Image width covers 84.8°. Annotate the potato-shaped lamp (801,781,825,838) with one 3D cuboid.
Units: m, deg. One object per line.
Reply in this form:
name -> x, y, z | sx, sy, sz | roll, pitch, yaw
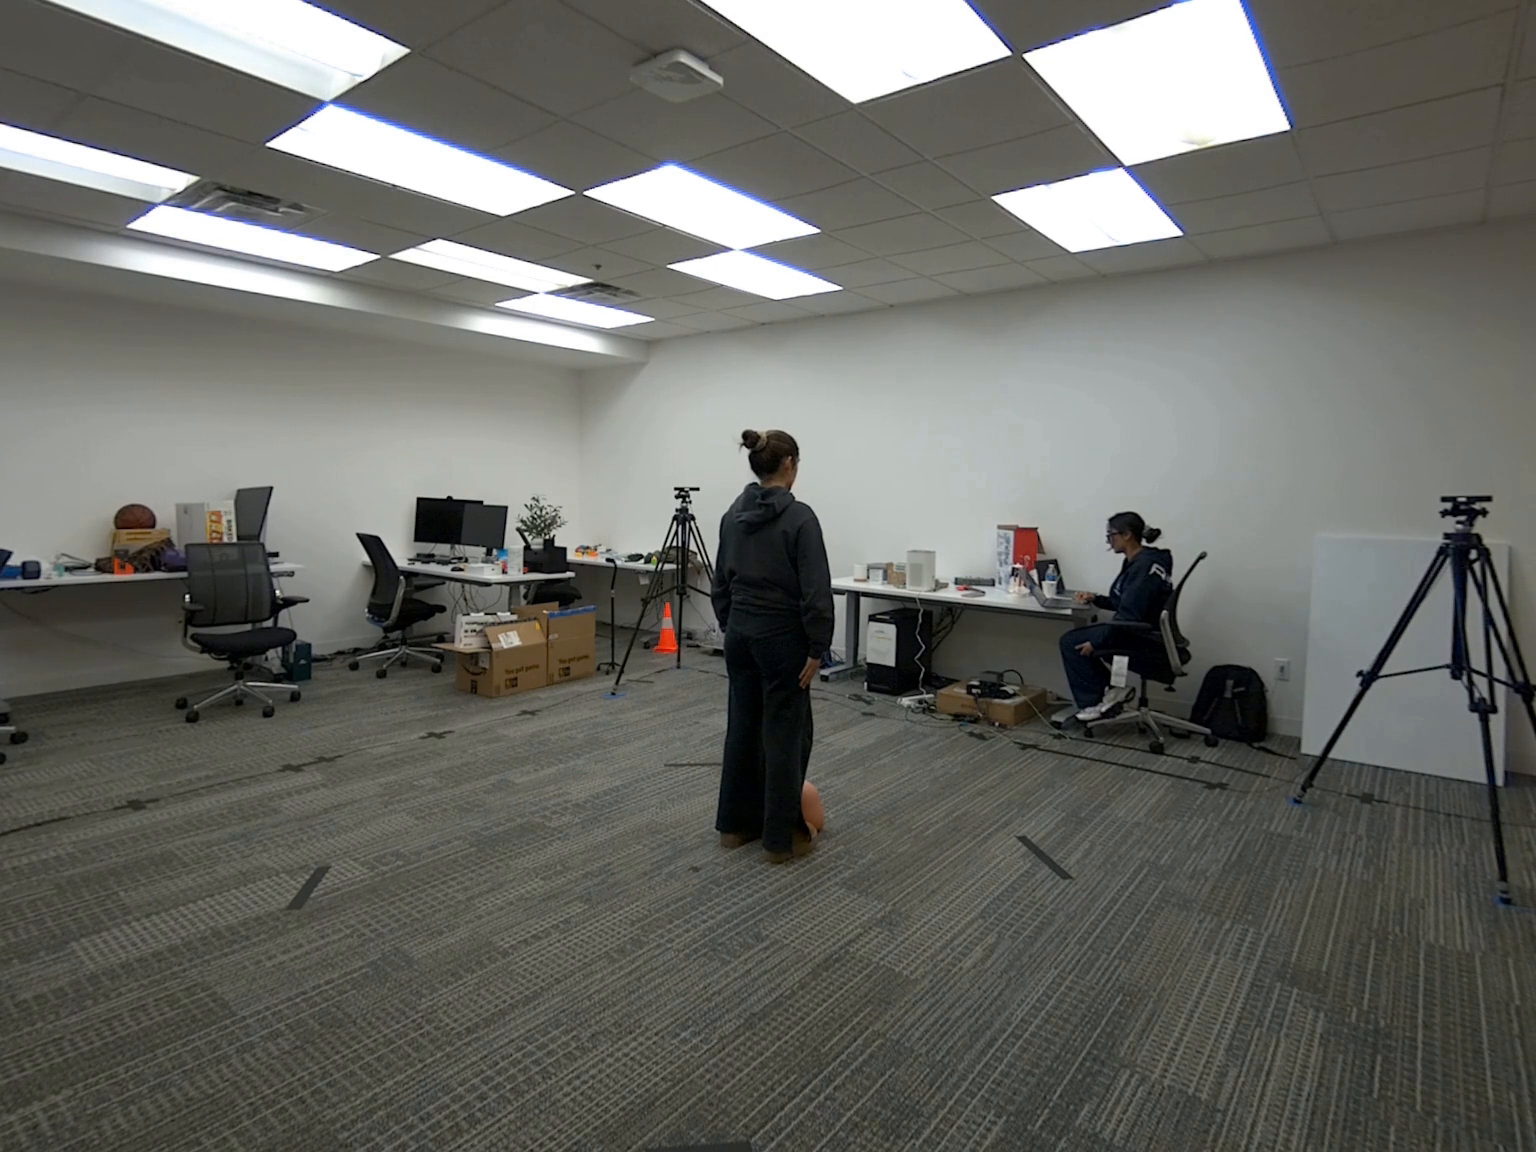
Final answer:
potato-shaped lamp -> 0.144, 0.931, 3.482 | 0.170, 0.197, 0.167 | 1, 5, 35
